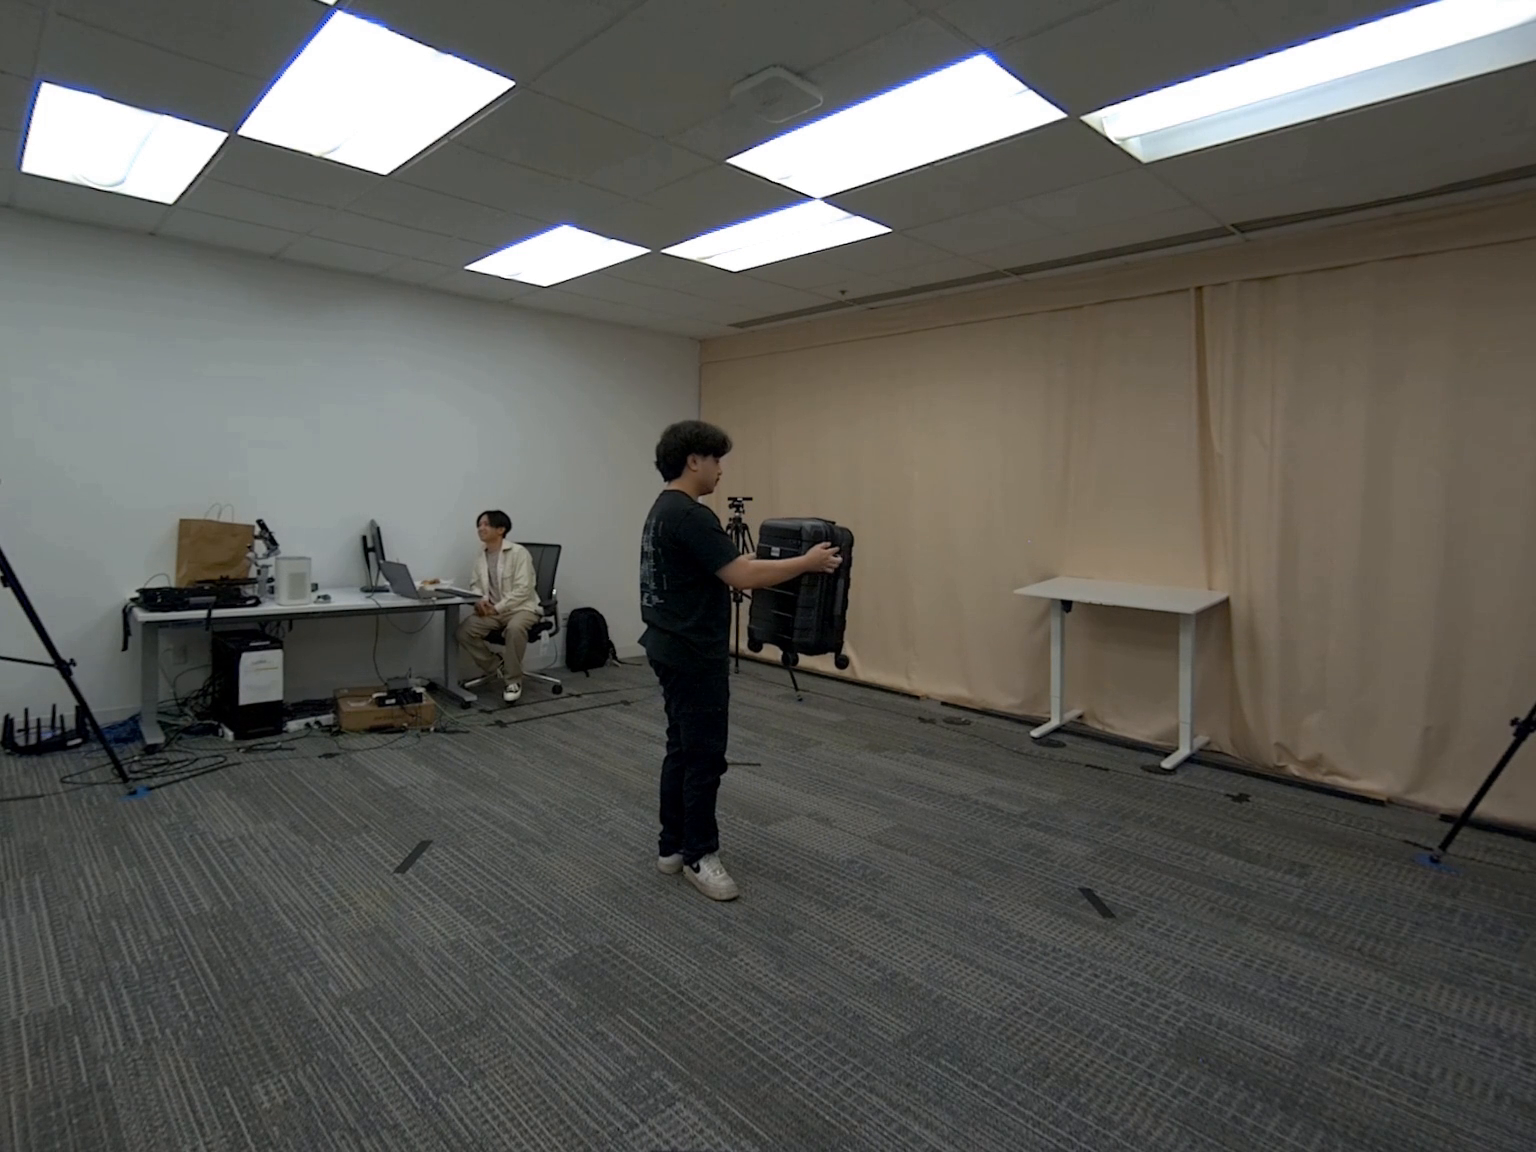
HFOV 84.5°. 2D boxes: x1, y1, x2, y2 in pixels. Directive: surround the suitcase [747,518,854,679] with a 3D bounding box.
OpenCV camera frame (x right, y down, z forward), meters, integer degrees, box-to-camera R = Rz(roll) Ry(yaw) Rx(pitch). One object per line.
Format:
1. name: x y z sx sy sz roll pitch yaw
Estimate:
1. suitcase: 0.113 0.046 3.243 0.243 0.548 0.385 3 4 -34
